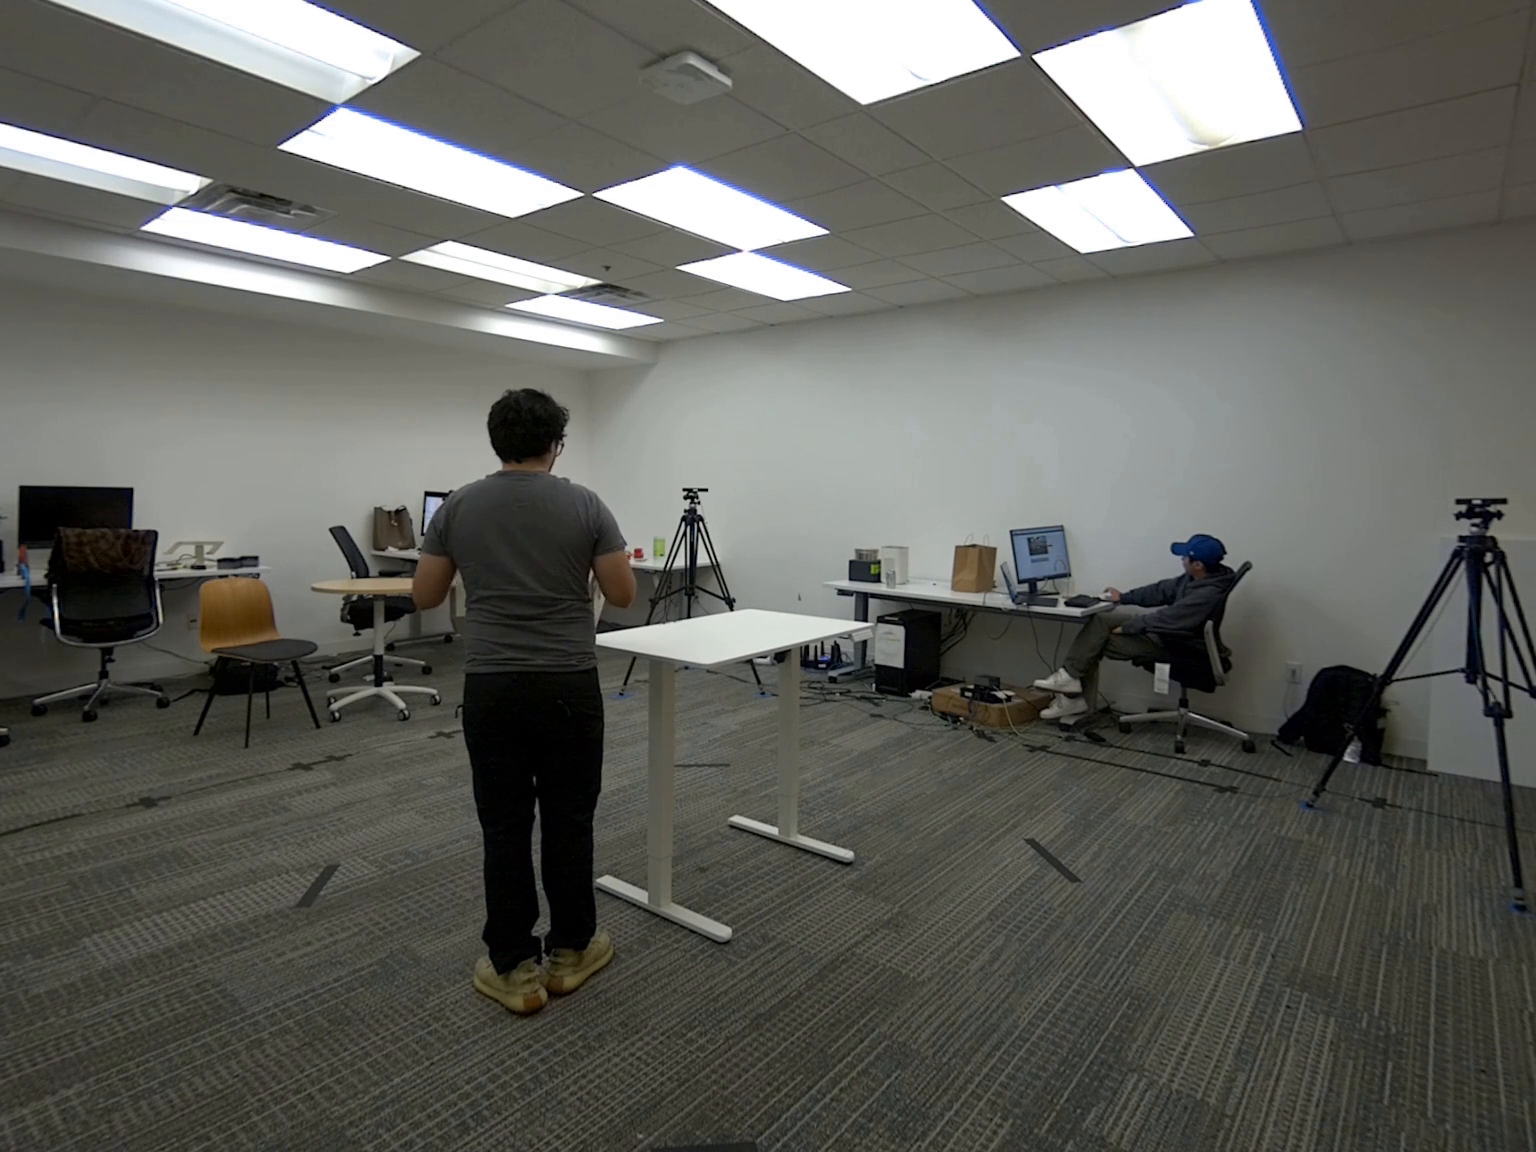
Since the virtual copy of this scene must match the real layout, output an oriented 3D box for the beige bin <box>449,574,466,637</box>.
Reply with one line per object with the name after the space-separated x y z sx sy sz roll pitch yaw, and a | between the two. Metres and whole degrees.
-0.749 0.055 2.662 0.422 0.185 0.385 -3 19 -2 | beige bin
